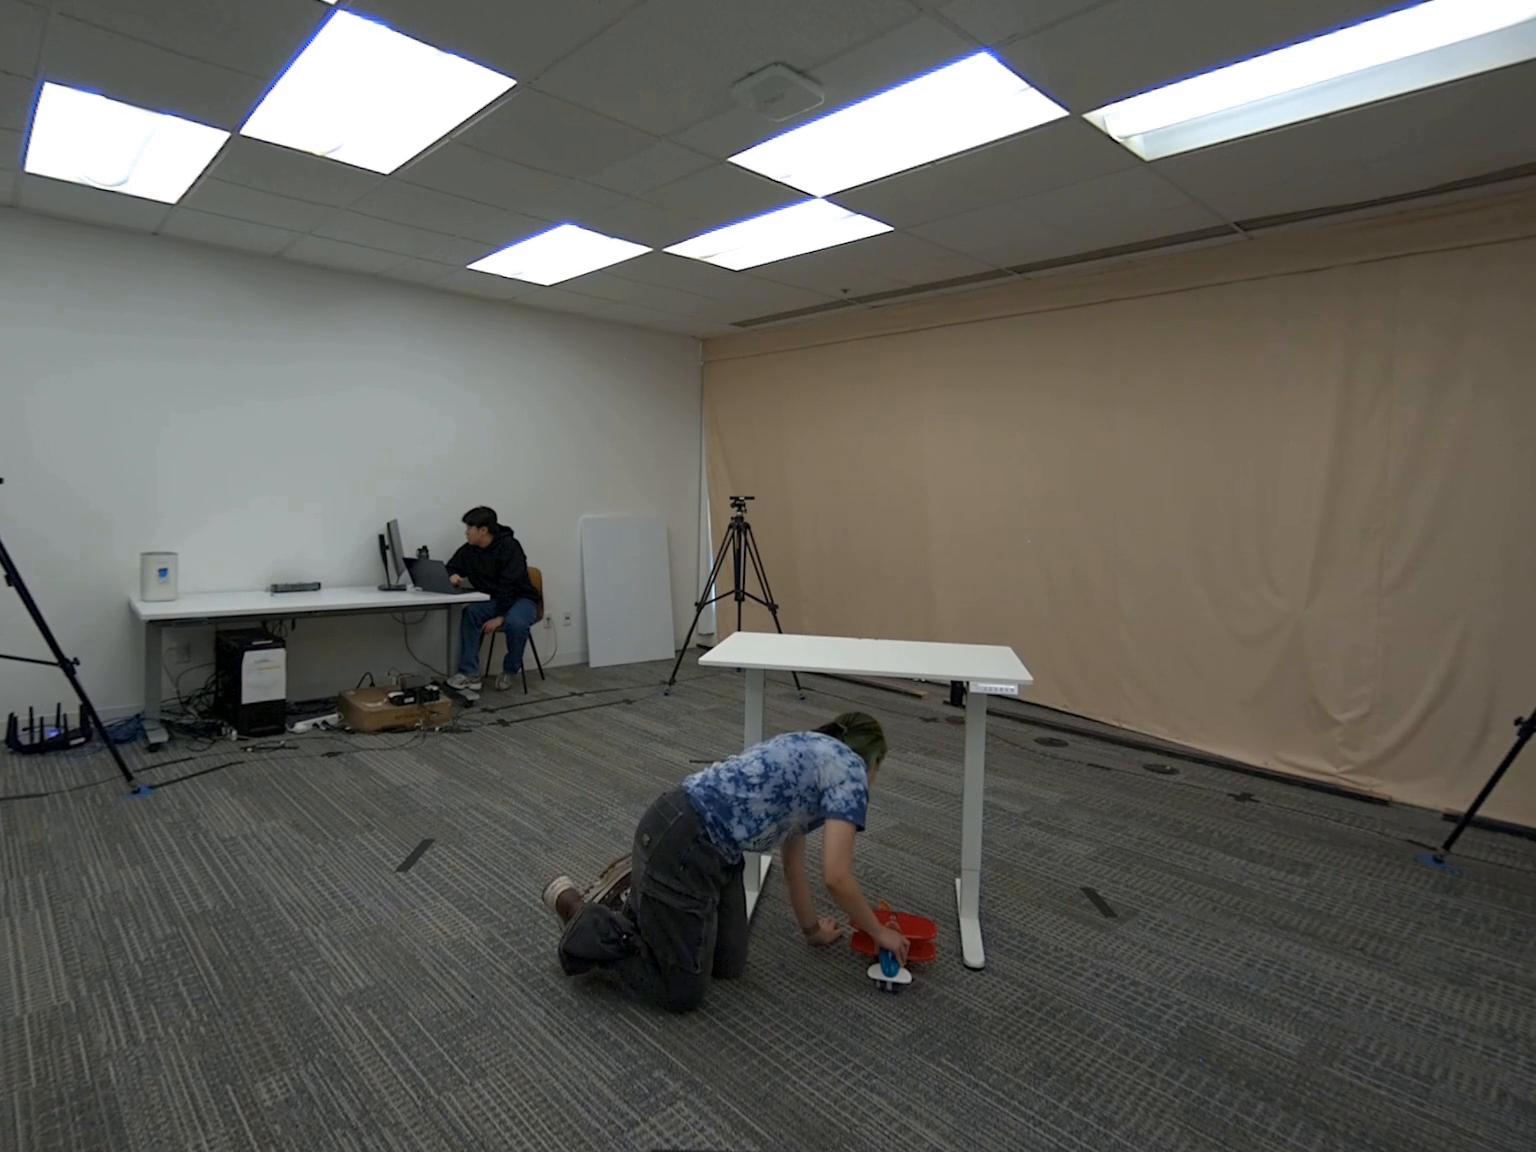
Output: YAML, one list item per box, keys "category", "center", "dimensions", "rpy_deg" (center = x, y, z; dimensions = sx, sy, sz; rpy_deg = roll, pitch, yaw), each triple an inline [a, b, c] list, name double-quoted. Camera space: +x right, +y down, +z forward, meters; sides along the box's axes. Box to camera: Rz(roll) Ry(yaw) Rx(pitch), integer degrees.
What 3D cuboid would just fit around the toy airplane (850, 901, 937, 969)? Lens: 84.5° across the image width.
- category: "toy airplane"
  center: [0.381, 1.108, 2.468]
  dimensions: [0.248, 0.156, 0.263]
  rpy_deg: [1, 4, -16]
